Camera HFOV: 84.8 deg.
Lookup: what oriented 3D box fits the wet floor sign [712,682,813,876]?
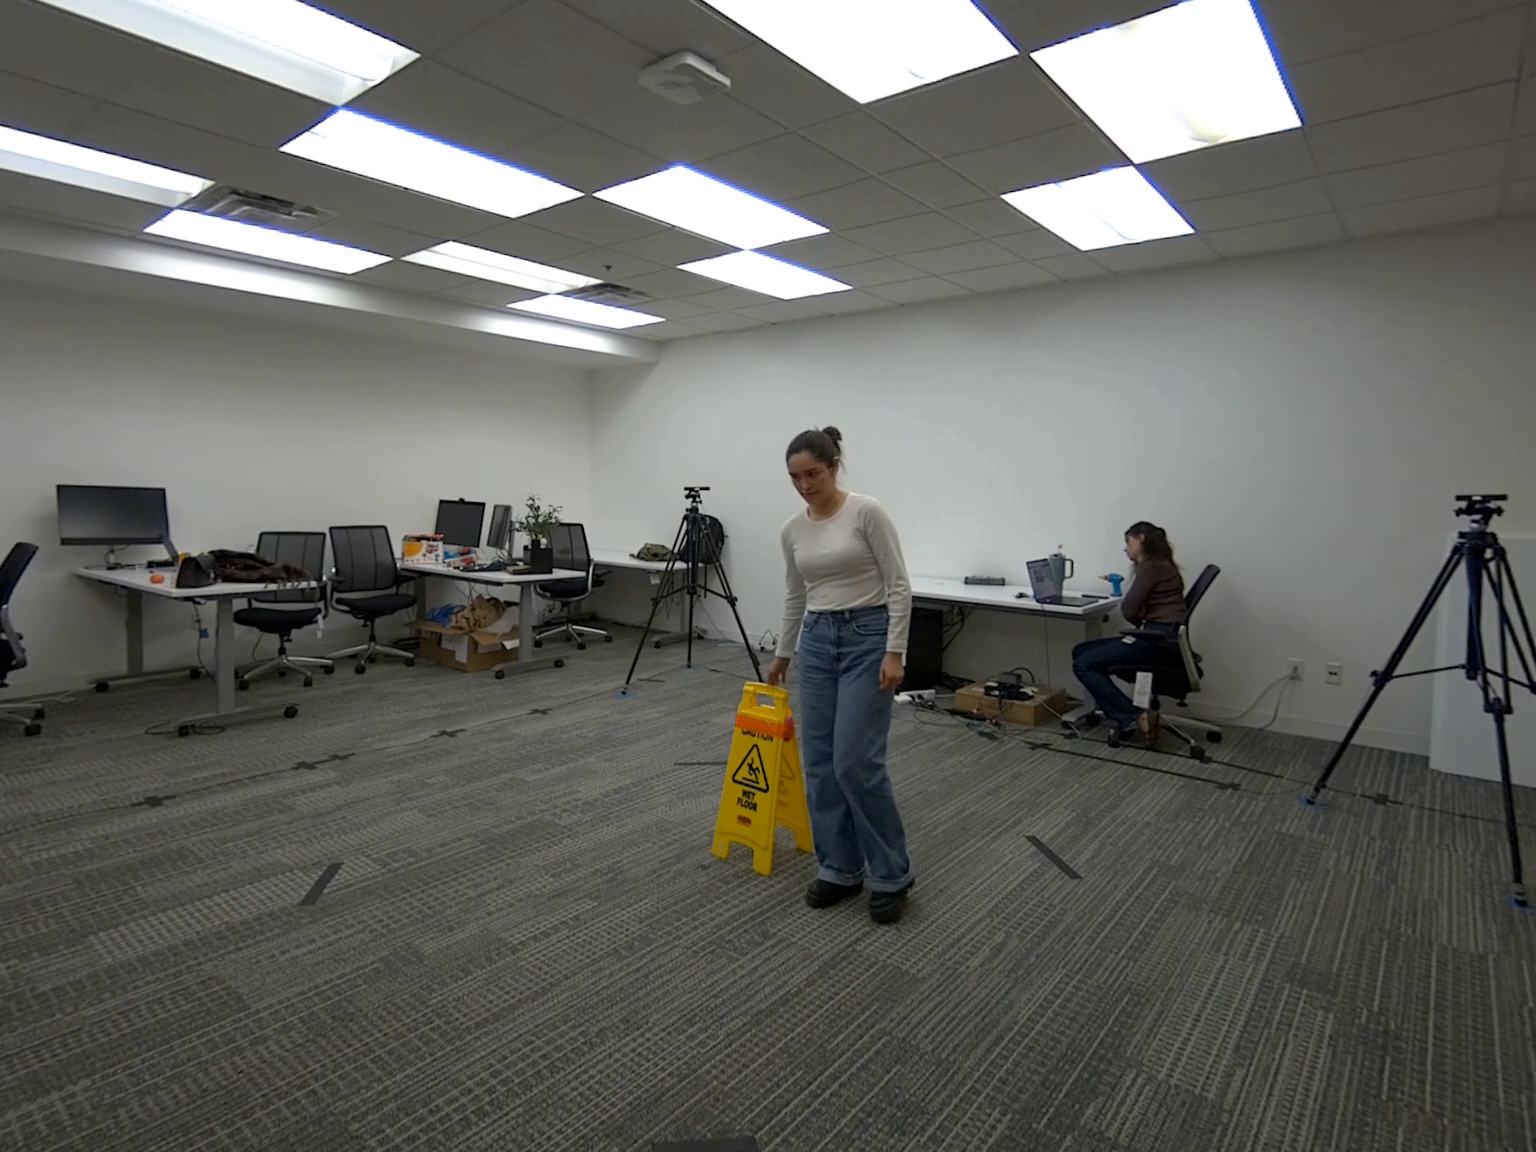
[{"bbox_3d":[-0.023,0.731,3.234,0.292,0.644,0.281,4,4,39],"label":"wet floor sign"}]
